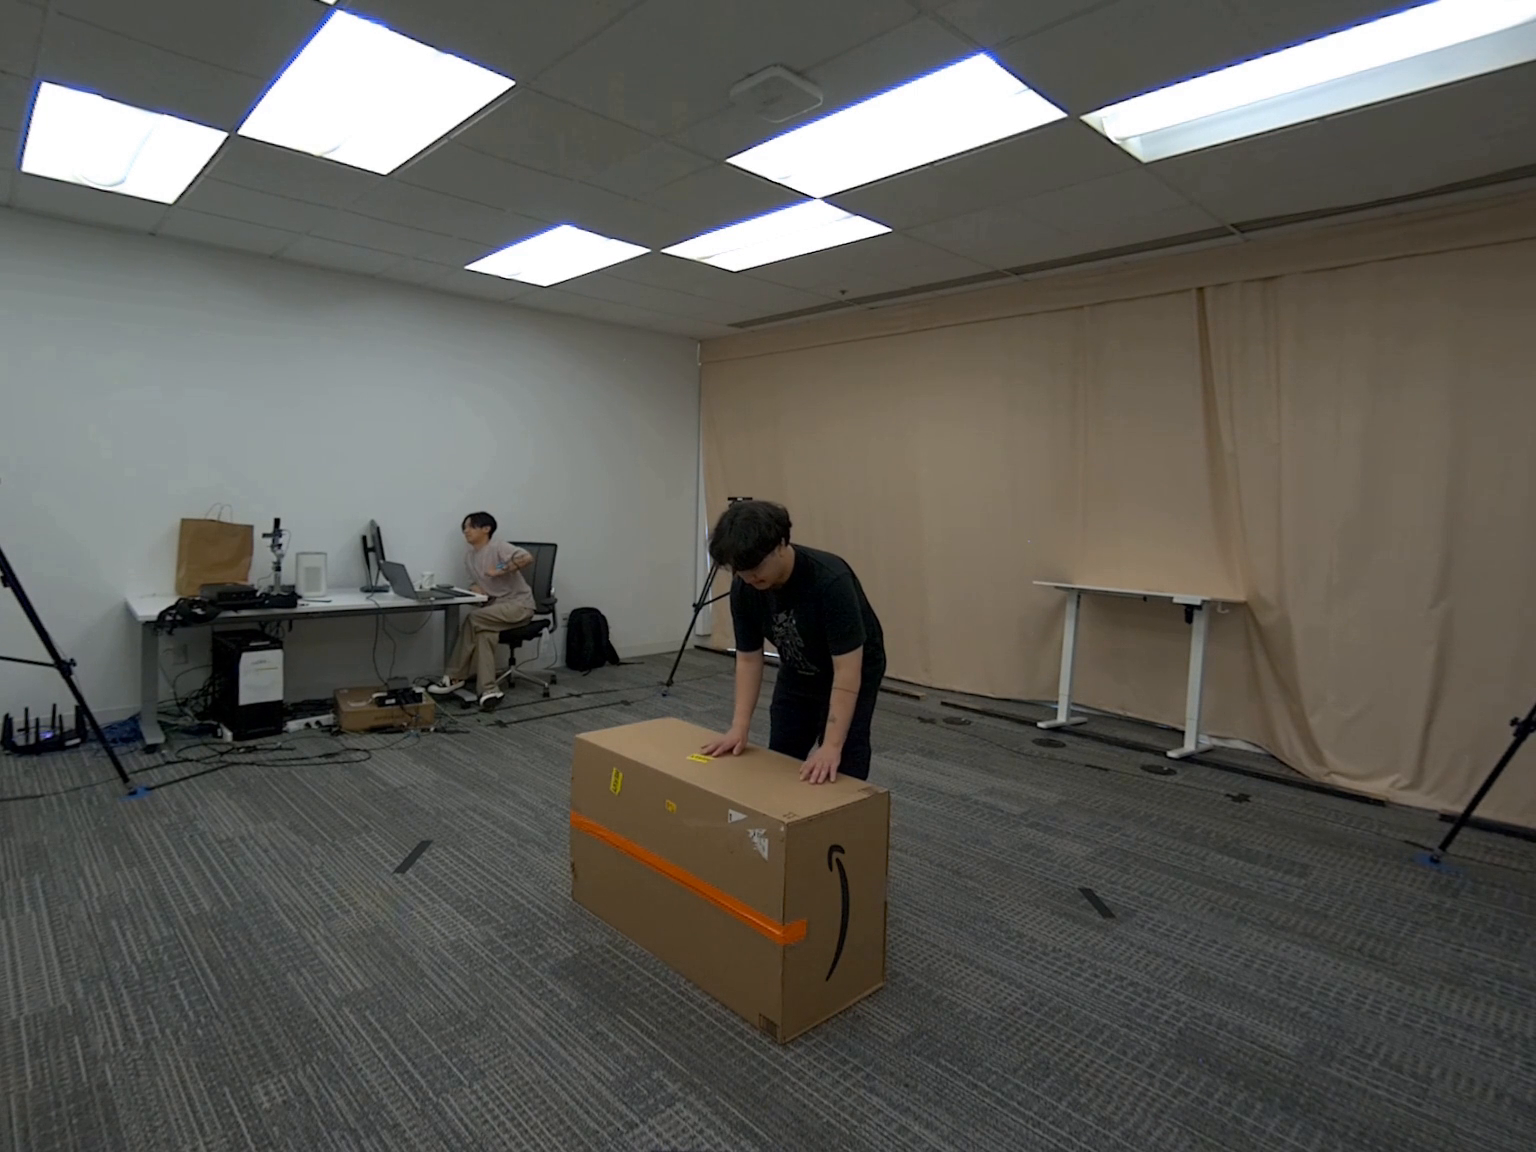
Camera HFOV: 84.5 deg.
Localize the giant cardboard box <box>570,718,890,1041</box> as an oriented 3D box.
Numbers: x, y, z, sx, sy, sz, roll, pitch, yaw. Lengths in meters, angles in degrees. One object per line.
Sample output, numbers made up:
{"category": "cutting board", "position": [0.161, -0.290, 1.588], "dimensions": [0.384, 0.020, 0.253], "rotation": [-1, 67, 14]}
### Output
{"category": "giant cardboard box", "position": [-0.174, 0.867, 2.640], "dimensions": [0.437, 0.582, 1.053], "rotation": [-3, 6, -43]}
